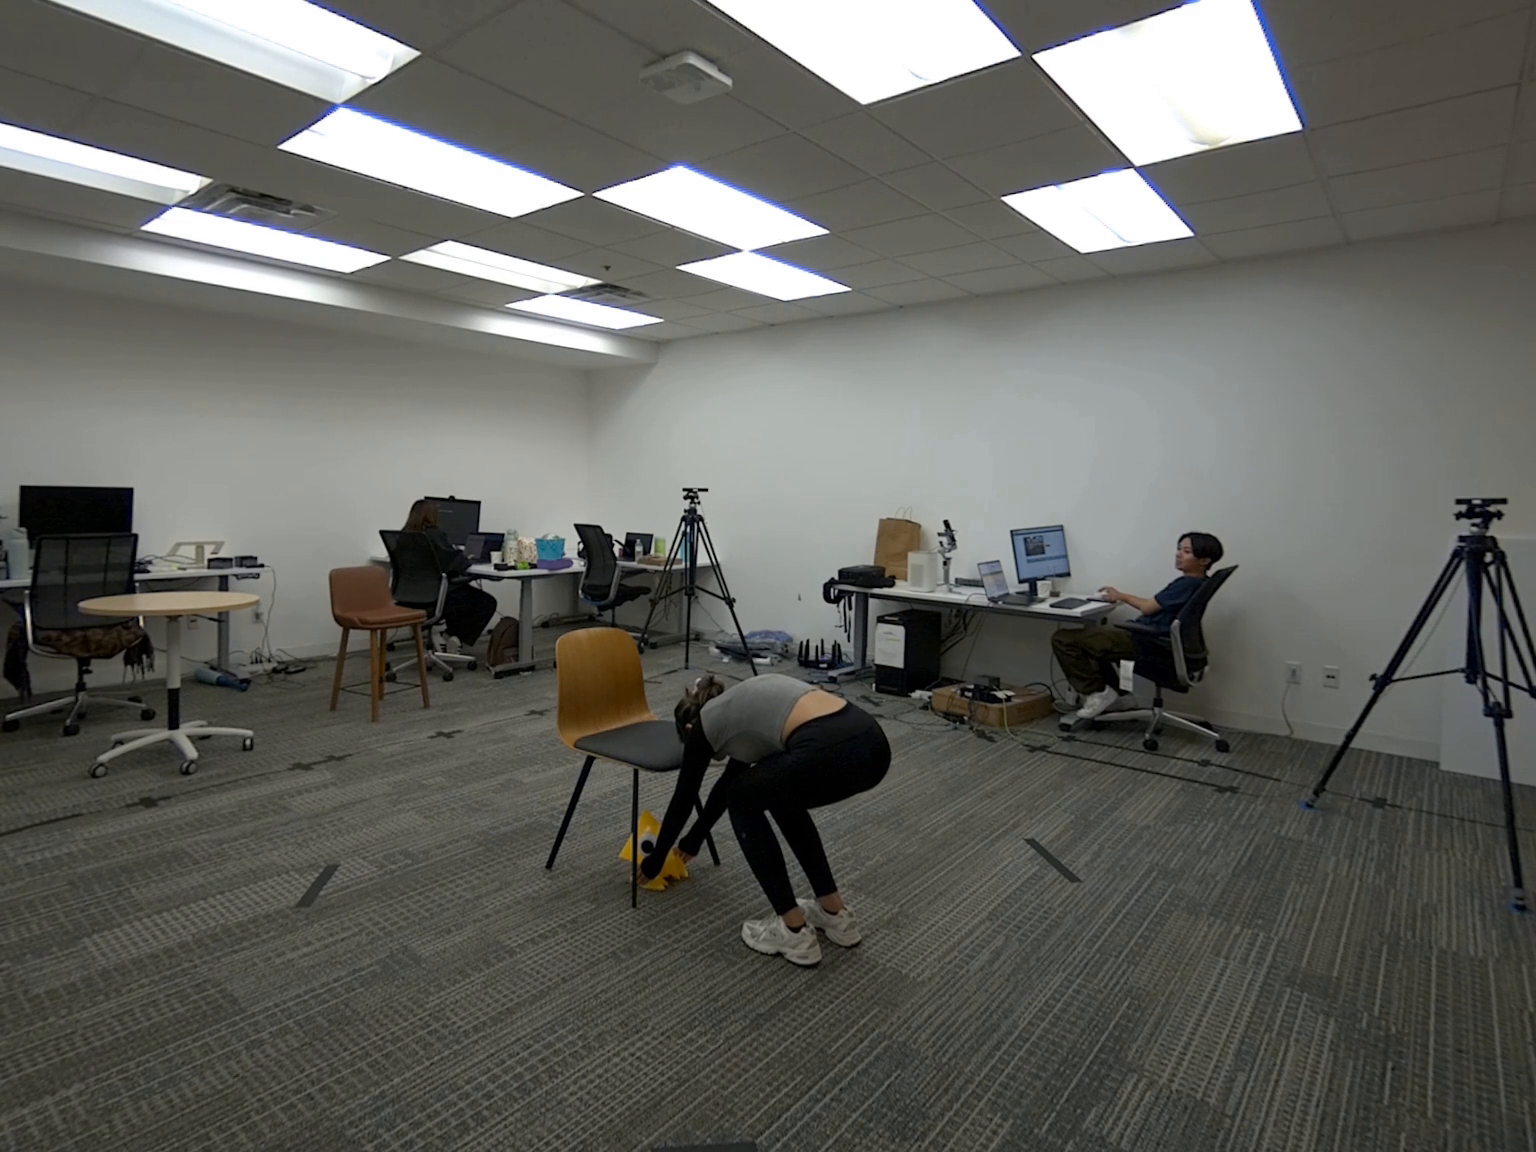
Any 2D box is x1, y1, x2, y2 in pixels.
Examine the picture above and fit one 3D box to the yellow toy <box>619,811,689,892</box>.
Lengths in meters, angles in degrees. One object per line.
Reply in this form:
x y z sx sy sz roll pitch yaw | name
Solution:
-0.401 0.959 3.039 0.199 0.230 0.198 4 3 39 | yellow toy
